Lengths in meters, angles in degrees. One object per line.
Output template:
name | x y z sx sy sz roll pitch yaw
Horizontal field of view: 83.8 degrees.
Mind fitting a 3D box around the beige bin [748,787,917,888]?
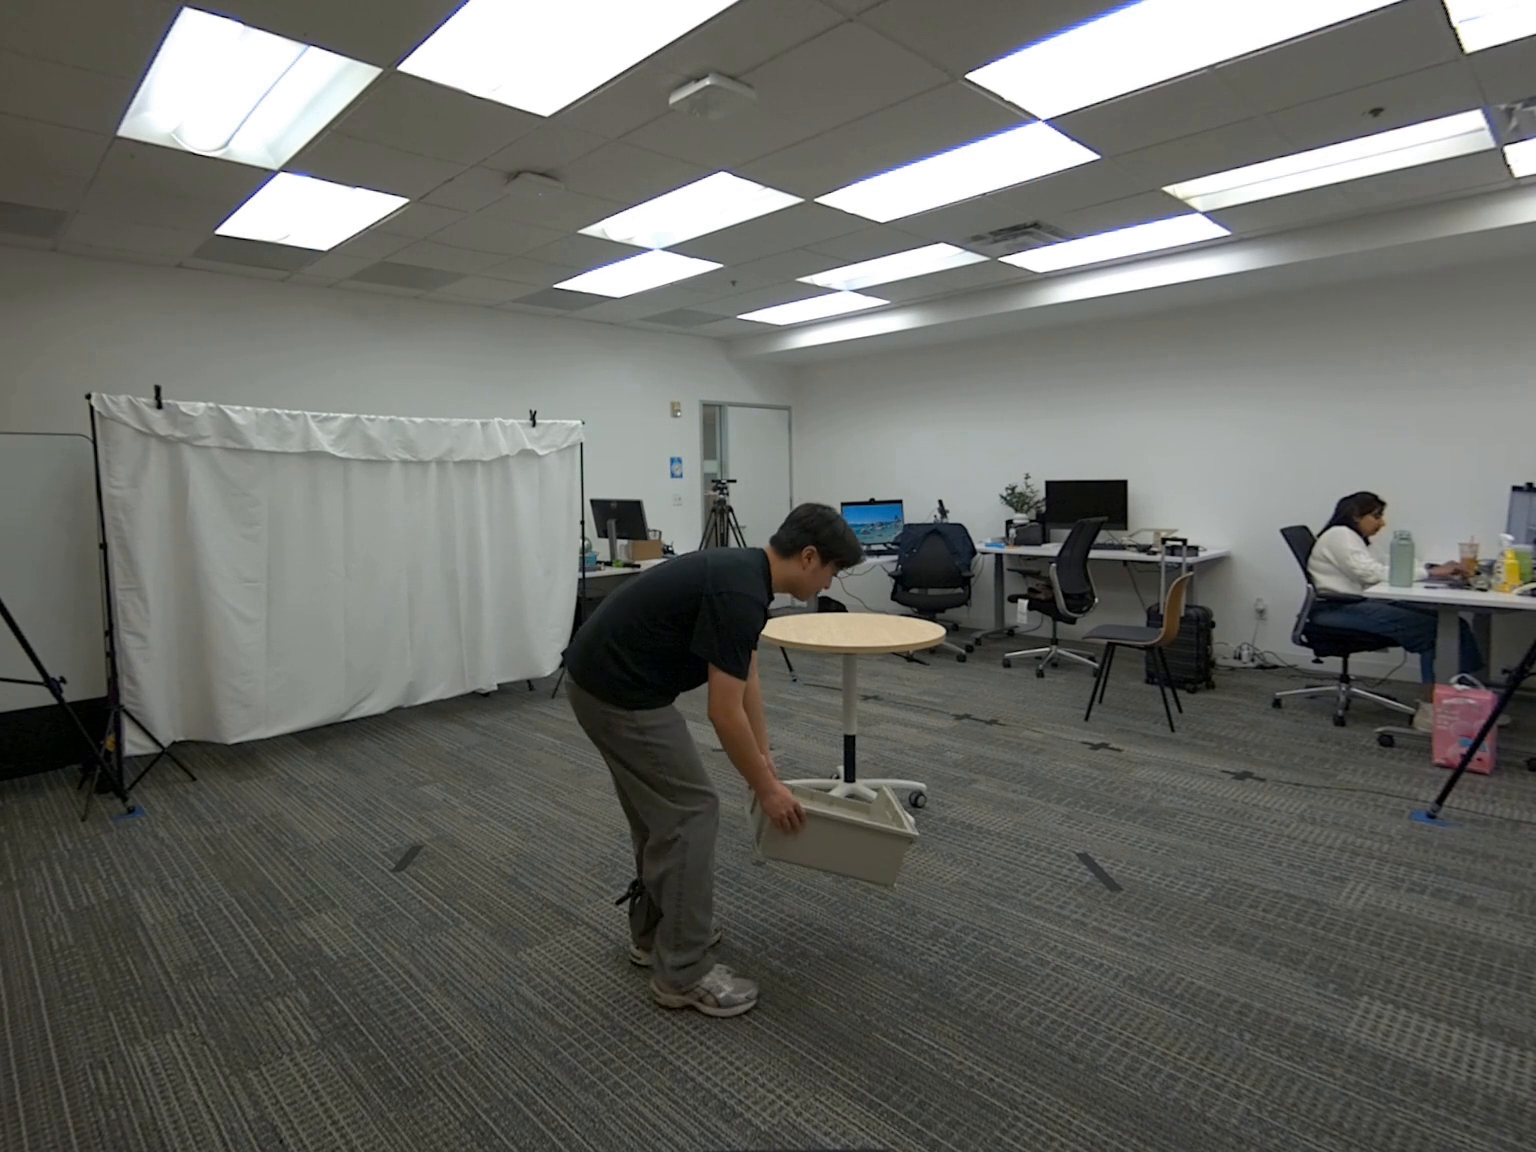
beige bin | 0.166 0.701 2.496 0.419 0.188 0.383 15 10 -8
